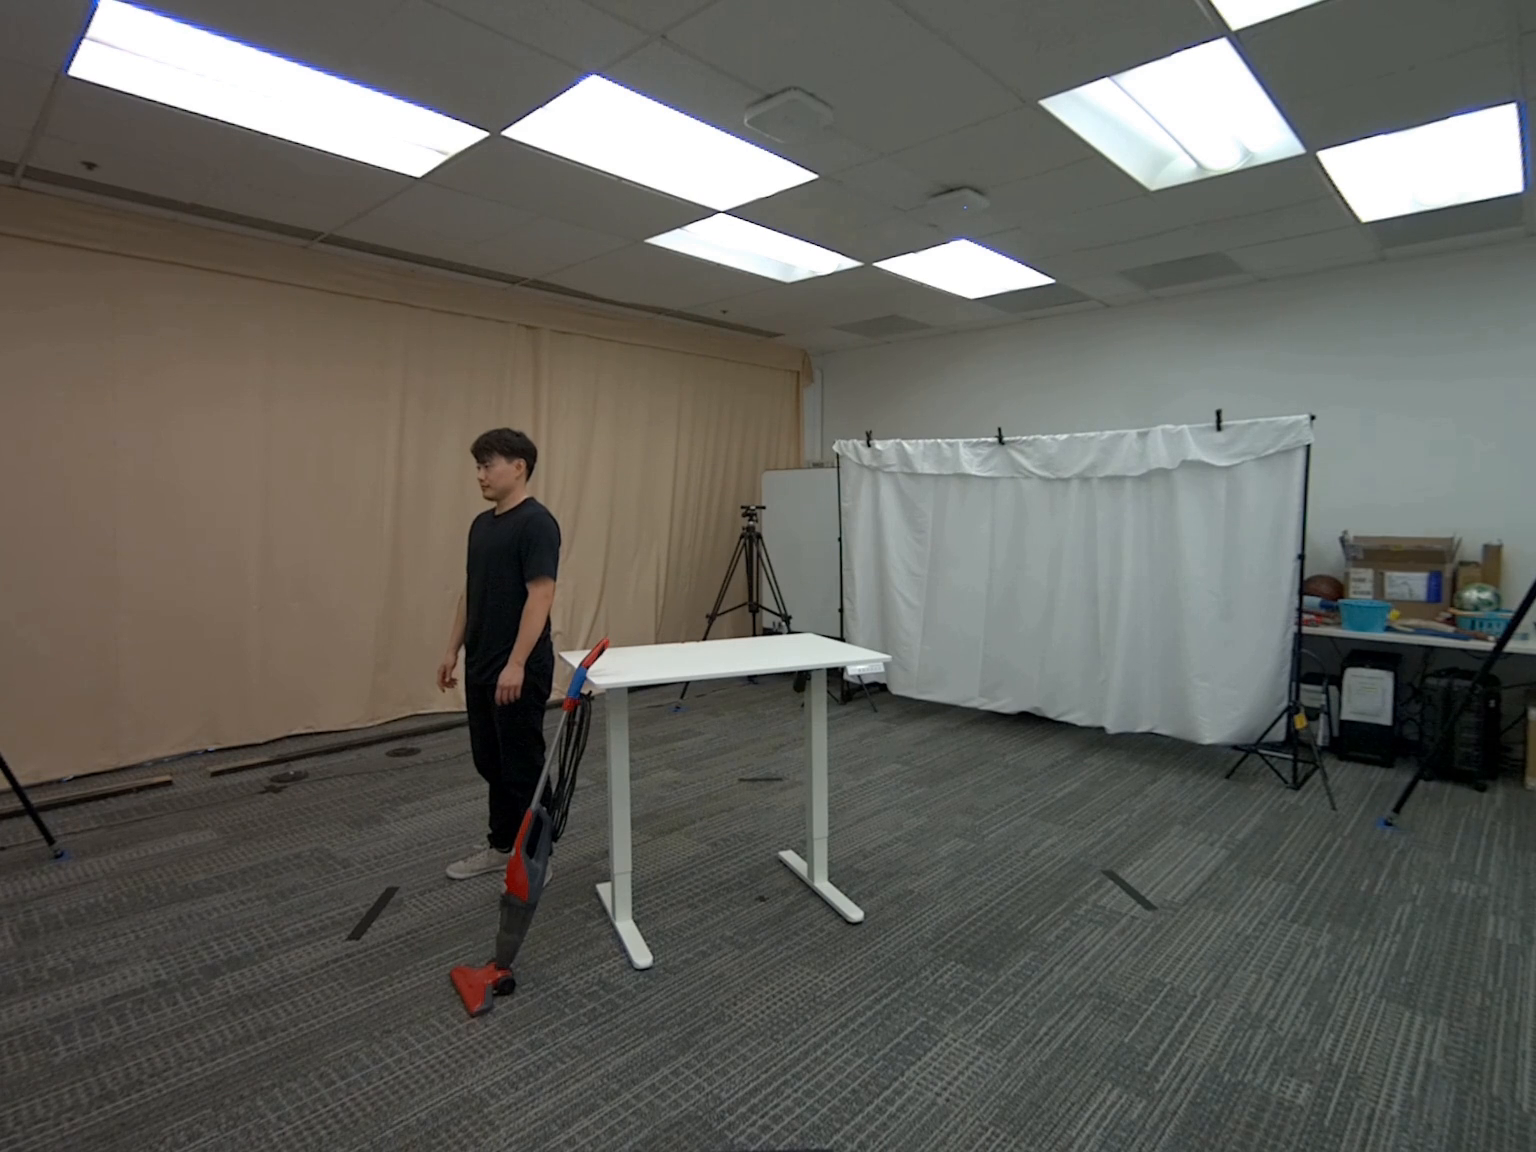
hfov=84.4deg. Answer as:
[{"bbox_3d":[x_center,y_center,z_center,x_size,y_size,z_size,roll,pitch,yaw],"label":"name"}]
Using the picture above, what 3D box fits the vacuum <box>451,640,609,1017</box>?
[{"bbox_3d":[-0.664,0.705,2.503,0.139,1.052,0.261,24,-11,-35],"label":"vacuum"}]
